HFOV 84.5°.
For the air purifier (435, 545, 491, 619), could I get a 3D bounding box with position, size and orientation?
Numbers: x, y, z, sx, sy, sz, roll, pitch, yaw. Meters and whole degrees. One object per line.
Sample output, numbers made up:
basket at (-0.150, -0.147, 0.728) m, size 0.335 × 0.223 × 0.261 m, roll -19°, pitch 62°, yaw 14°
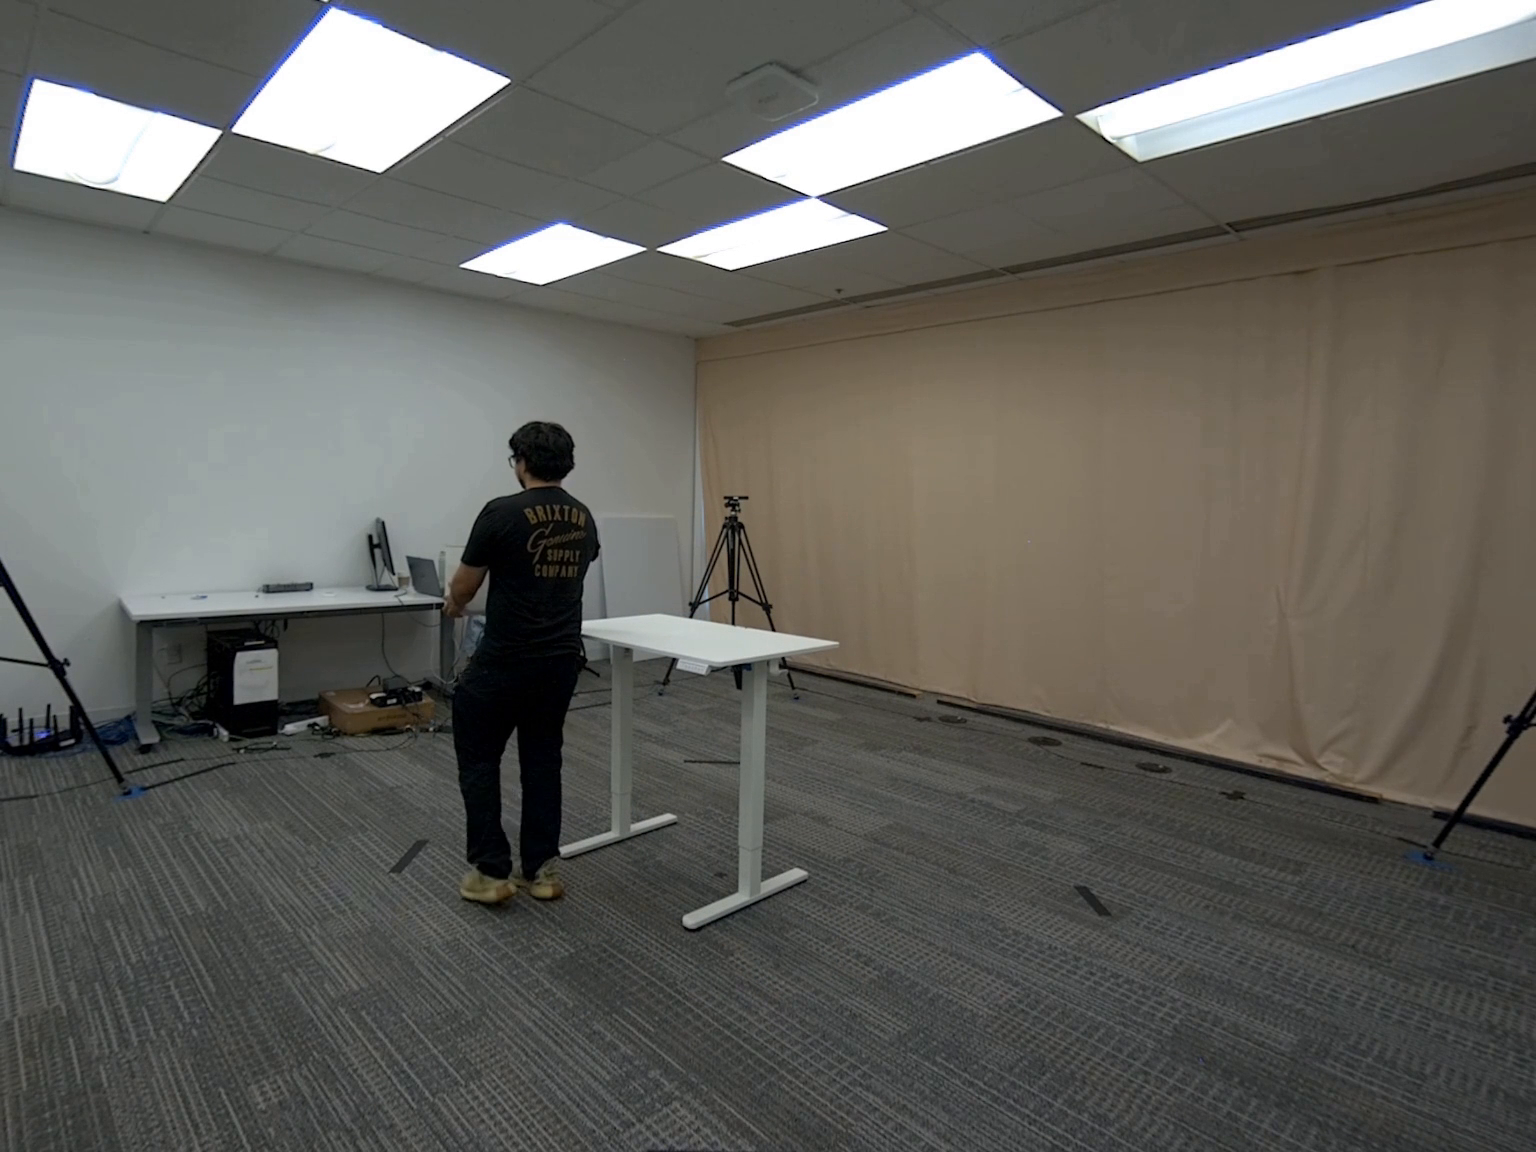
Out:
air purifier at (-1.152, 0.017, 3.246) m, size 0.176 × 0.265 × 0.167 m, roll 2°, pitch 1°, yaw 41°
